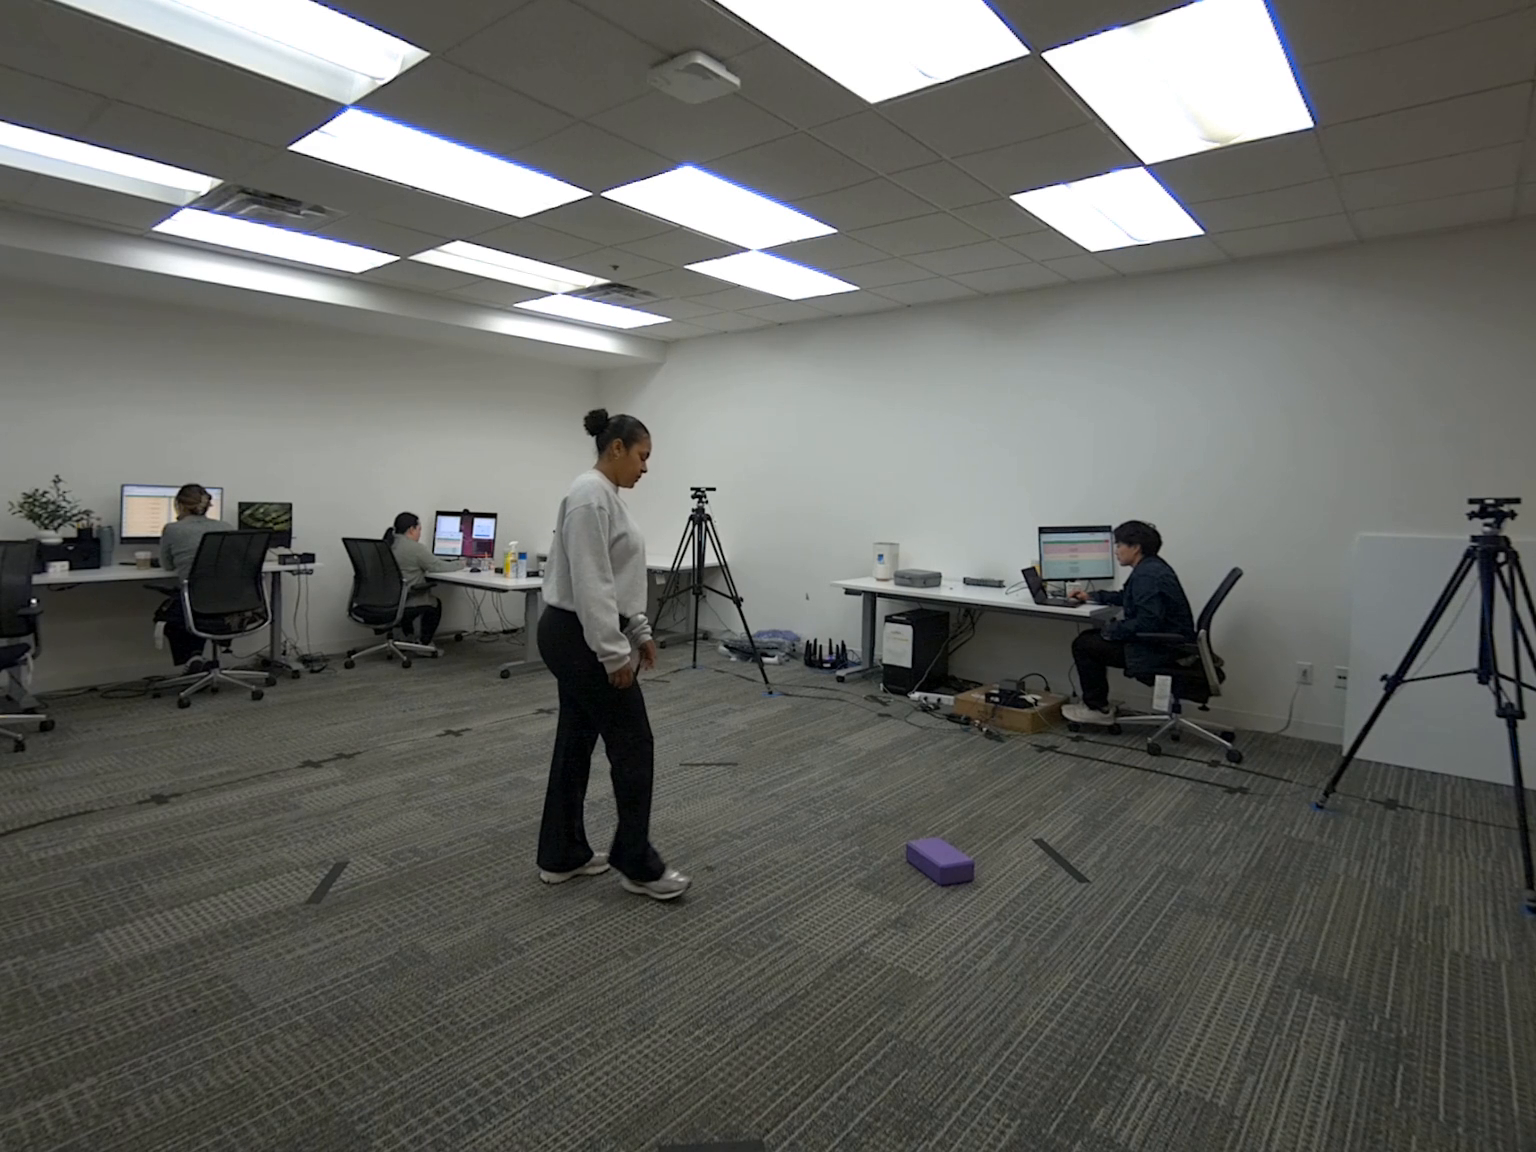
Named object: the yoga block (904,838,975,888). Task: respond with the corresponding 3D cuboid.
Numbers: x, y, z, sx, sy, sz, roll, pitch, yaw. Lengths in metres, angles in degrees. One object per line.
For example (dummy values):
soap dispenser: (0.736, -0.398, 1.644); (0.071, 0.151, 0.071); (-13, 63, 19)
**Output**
yoga block: (0.625, 1.046, 3.127); (0.146, 0.076, 0.235); (-1, 5, -22)
